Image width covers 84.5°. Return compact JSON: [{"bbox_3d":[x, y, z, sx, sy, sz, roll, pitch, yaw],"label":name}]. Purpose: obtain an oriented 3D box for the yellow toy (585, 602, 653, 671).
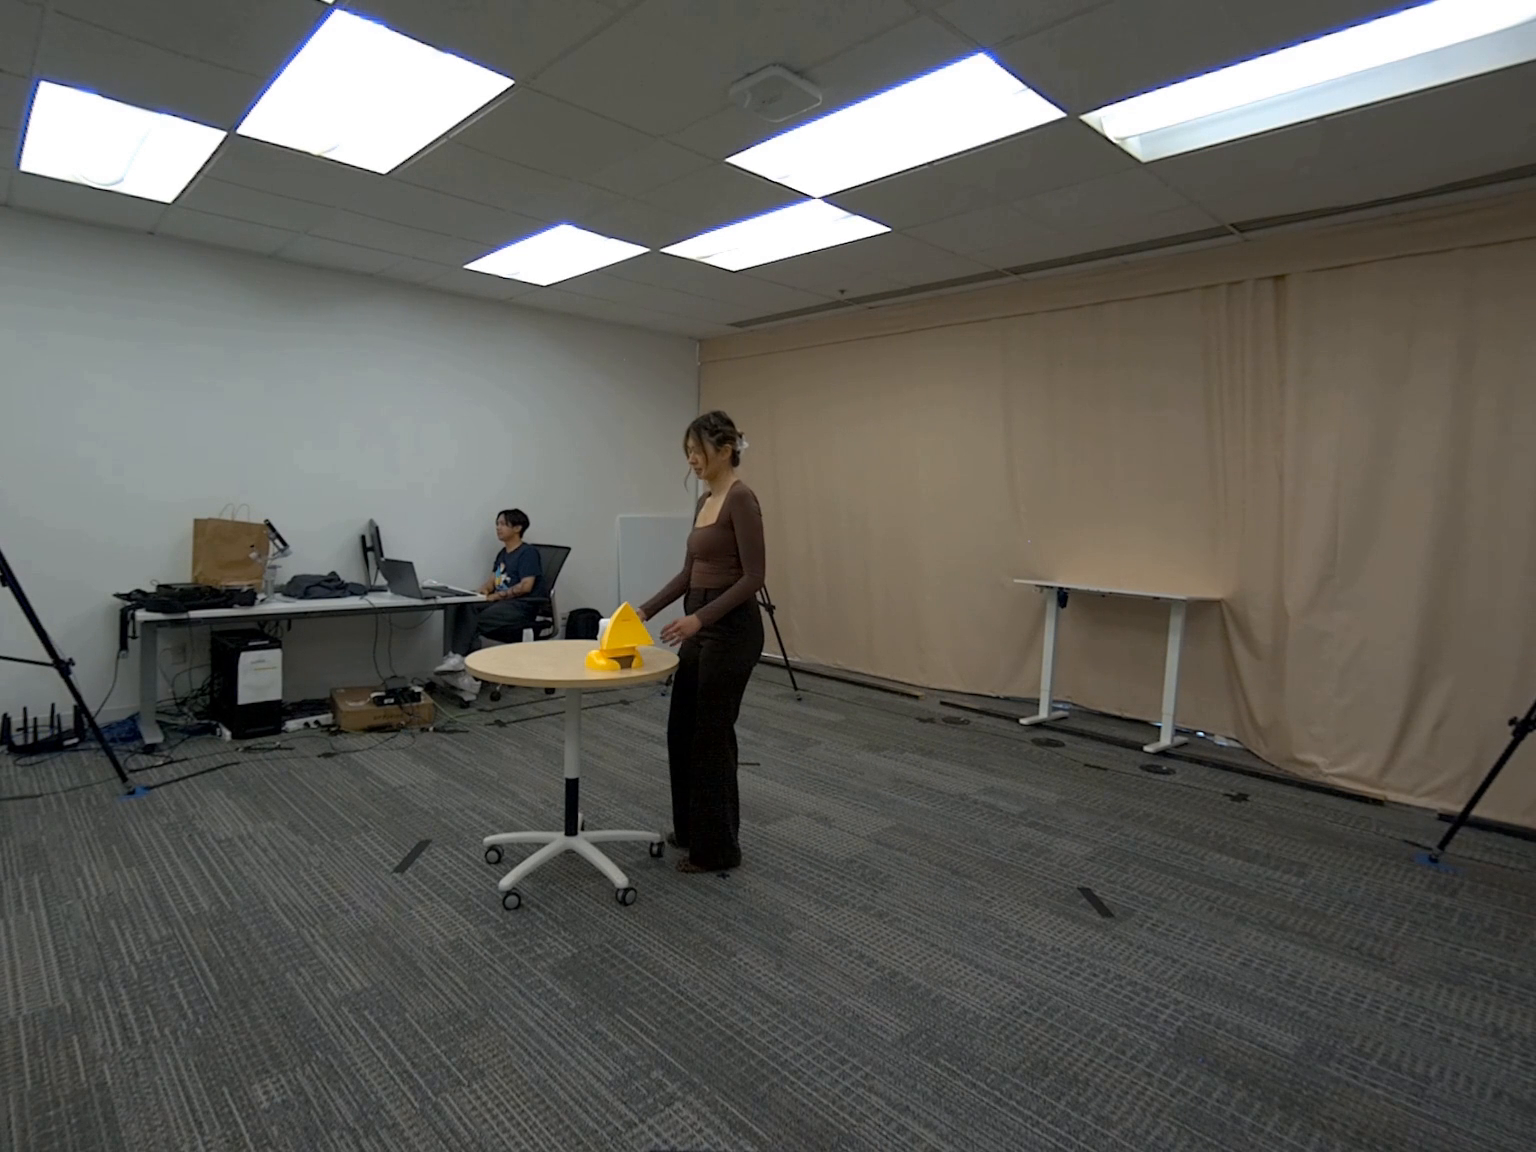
[{"bbox_3d":[-0.540,0.202,2.946,0.200,0.230,0.198,-2,5,-42],"label":"yellow toy"}]
